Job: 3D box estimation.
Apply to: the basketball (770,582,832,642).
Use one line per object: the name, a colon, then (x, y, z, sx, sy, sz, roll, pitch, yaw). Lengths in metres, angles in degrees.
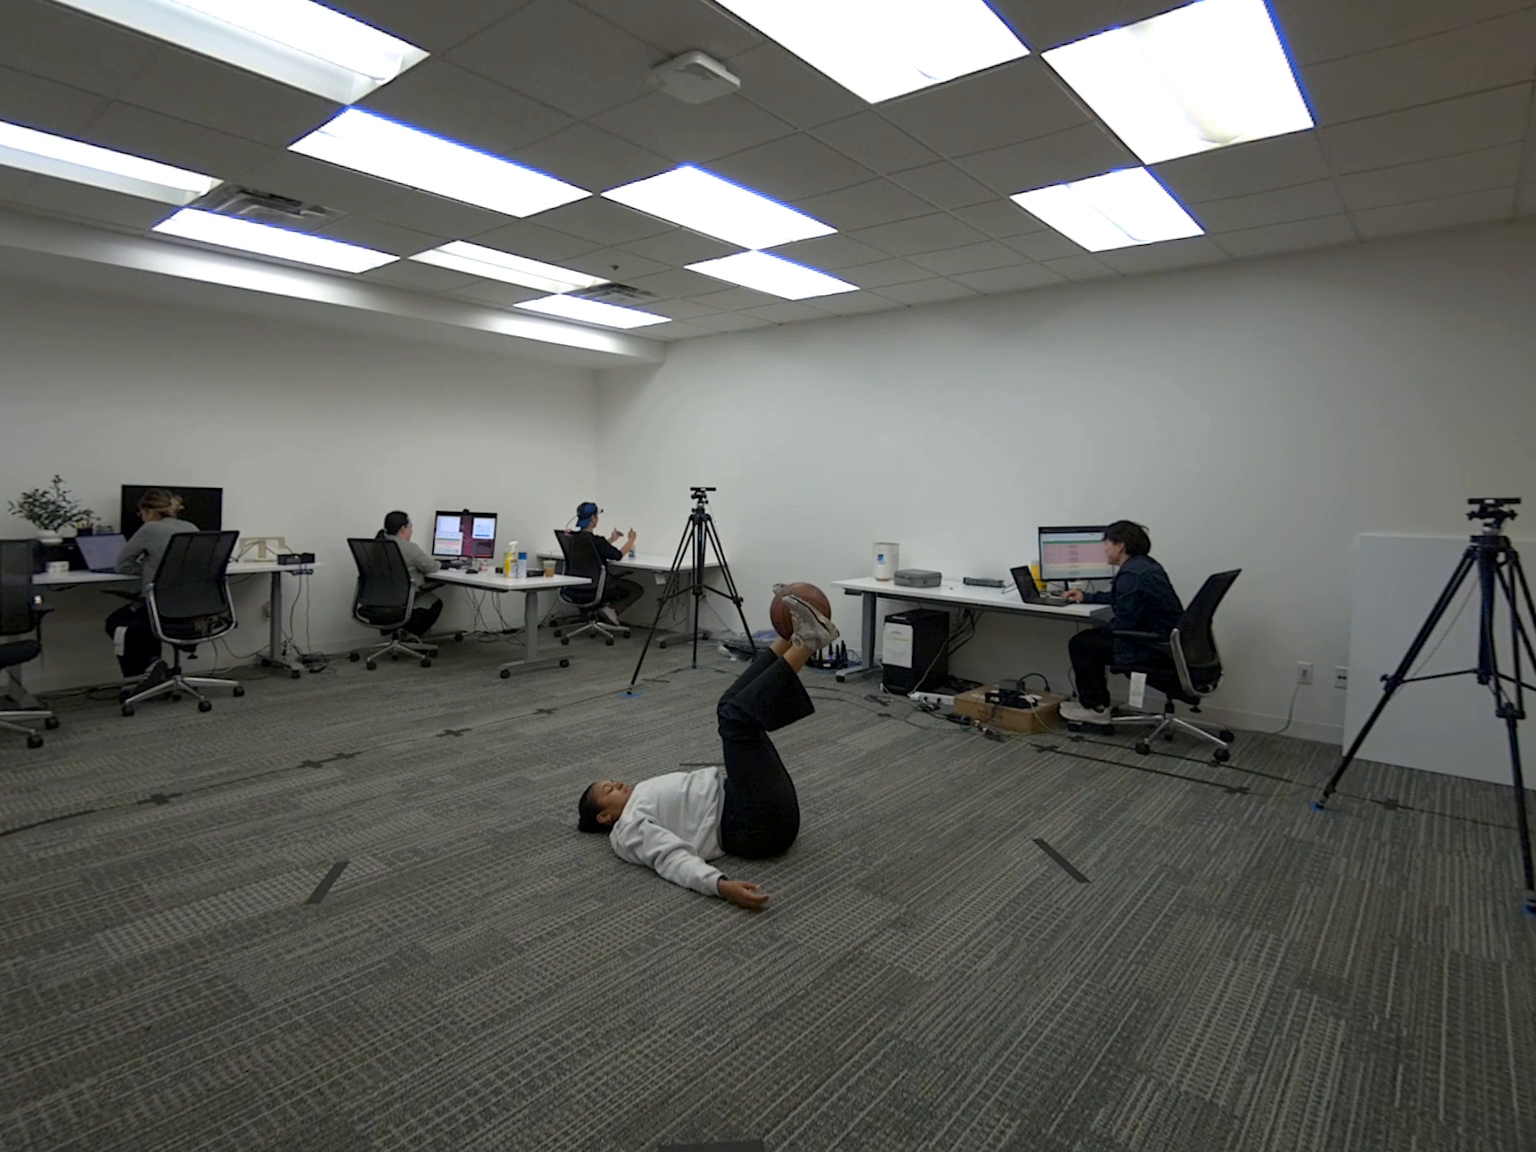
basketball: (0.120, 0.144, 3.318, 0.236, 0.234, 0.238, -2, 8, -2)
